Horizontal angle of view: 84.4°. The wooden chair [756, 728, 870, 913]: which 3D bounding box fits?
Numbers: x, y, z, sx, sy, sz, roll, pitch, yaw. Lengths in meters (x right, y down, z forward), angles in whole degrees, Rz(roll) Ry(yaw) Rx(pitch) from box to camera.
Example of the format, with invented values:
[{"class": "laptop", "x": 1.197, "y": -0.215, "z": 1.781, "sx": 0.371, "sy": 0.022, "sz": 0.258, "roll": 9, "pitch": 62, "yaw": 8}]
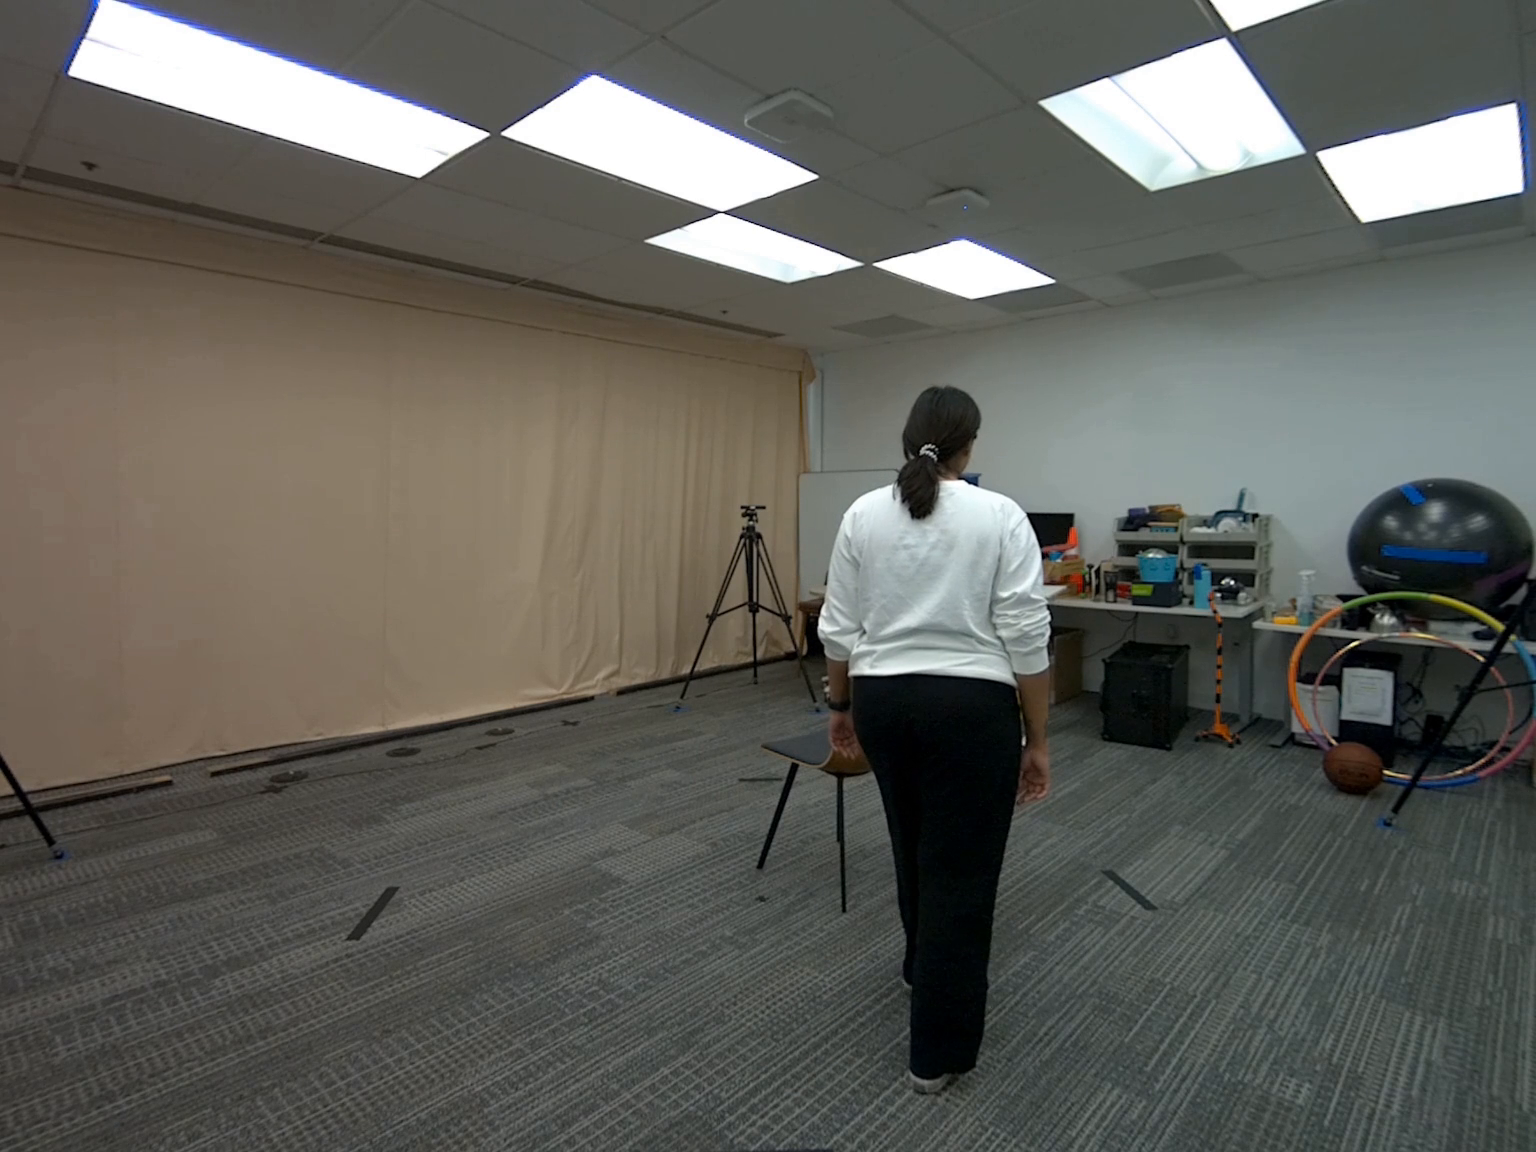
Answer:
[{"class": "wooden chair", "x": 0.273, "y": 0.699, "z": 3.165, "sx": 0.463, "sy": 0.874, "sz": 0.541, "roll": -3, "pitch": 9, "yaw": -41}]
